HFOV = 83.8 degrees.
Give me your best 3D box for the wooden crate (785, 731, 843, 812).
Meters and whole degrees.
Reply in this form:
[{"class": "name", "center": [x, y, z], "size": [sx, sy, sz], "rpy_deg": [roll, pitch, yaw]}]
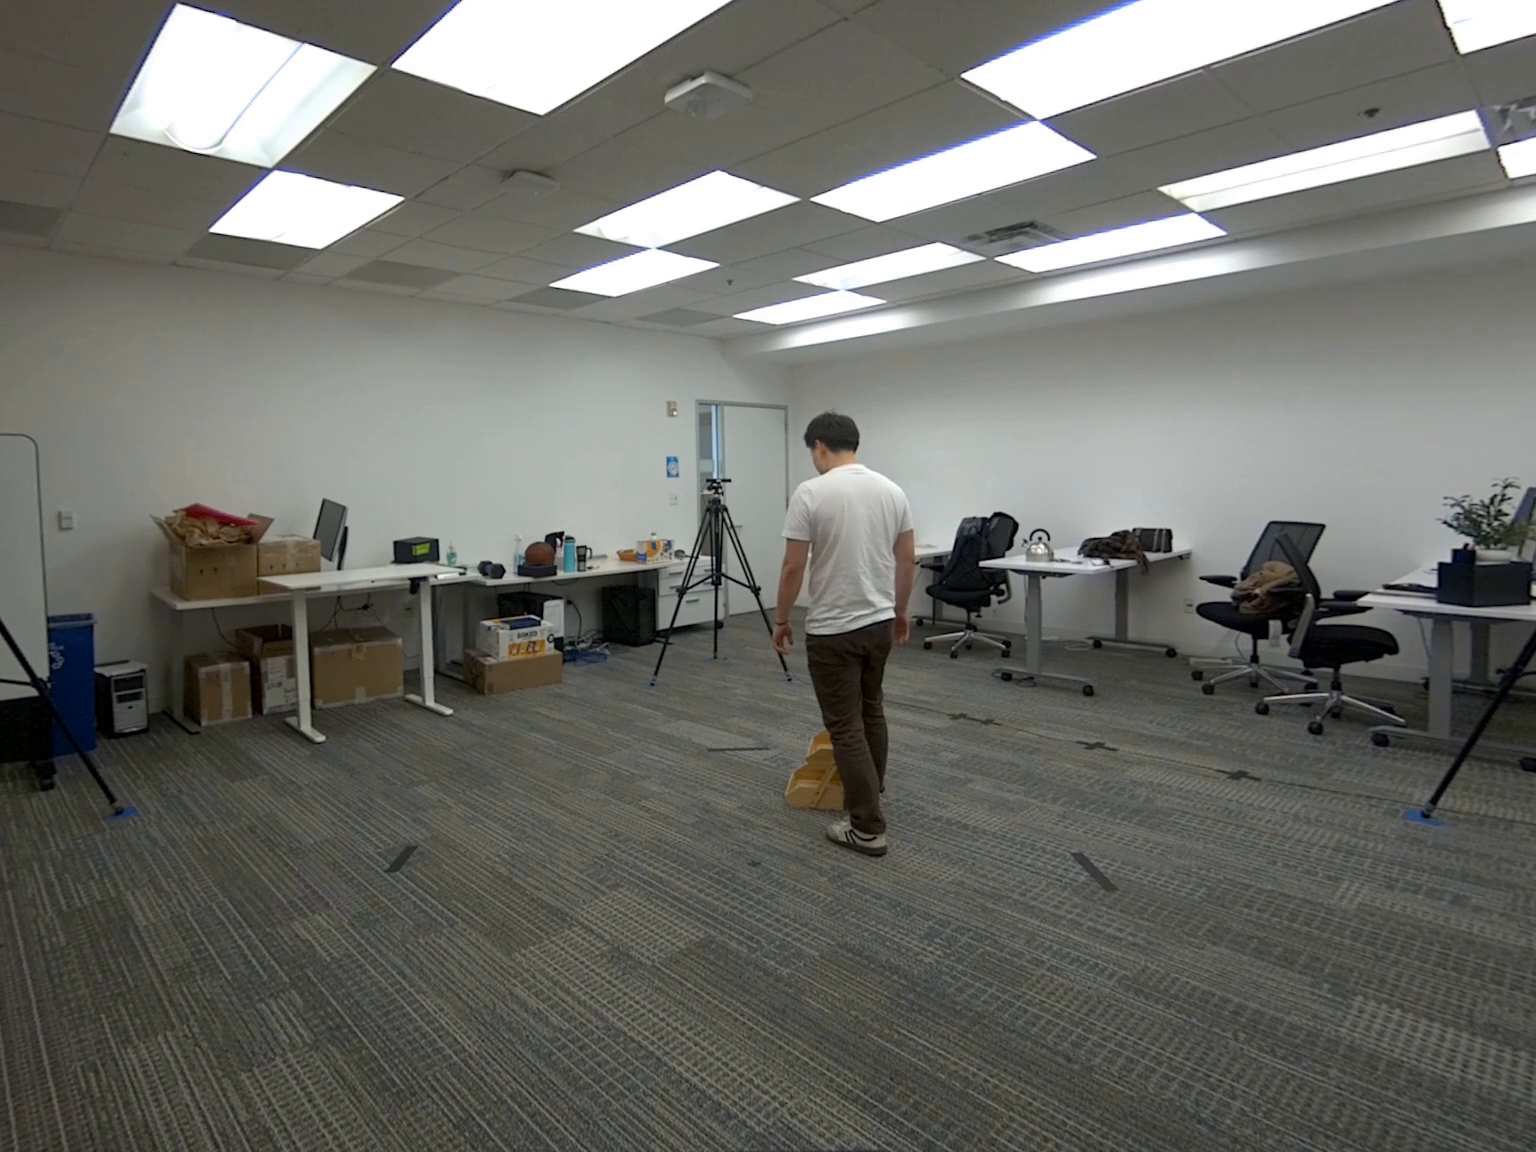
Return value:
[{"class": "wooden crate", "center": [0.244, 0.836, 3.754], "size": [0.306, 0.272, 0.322], "rpy_deg": [1, 5, 11]}]
